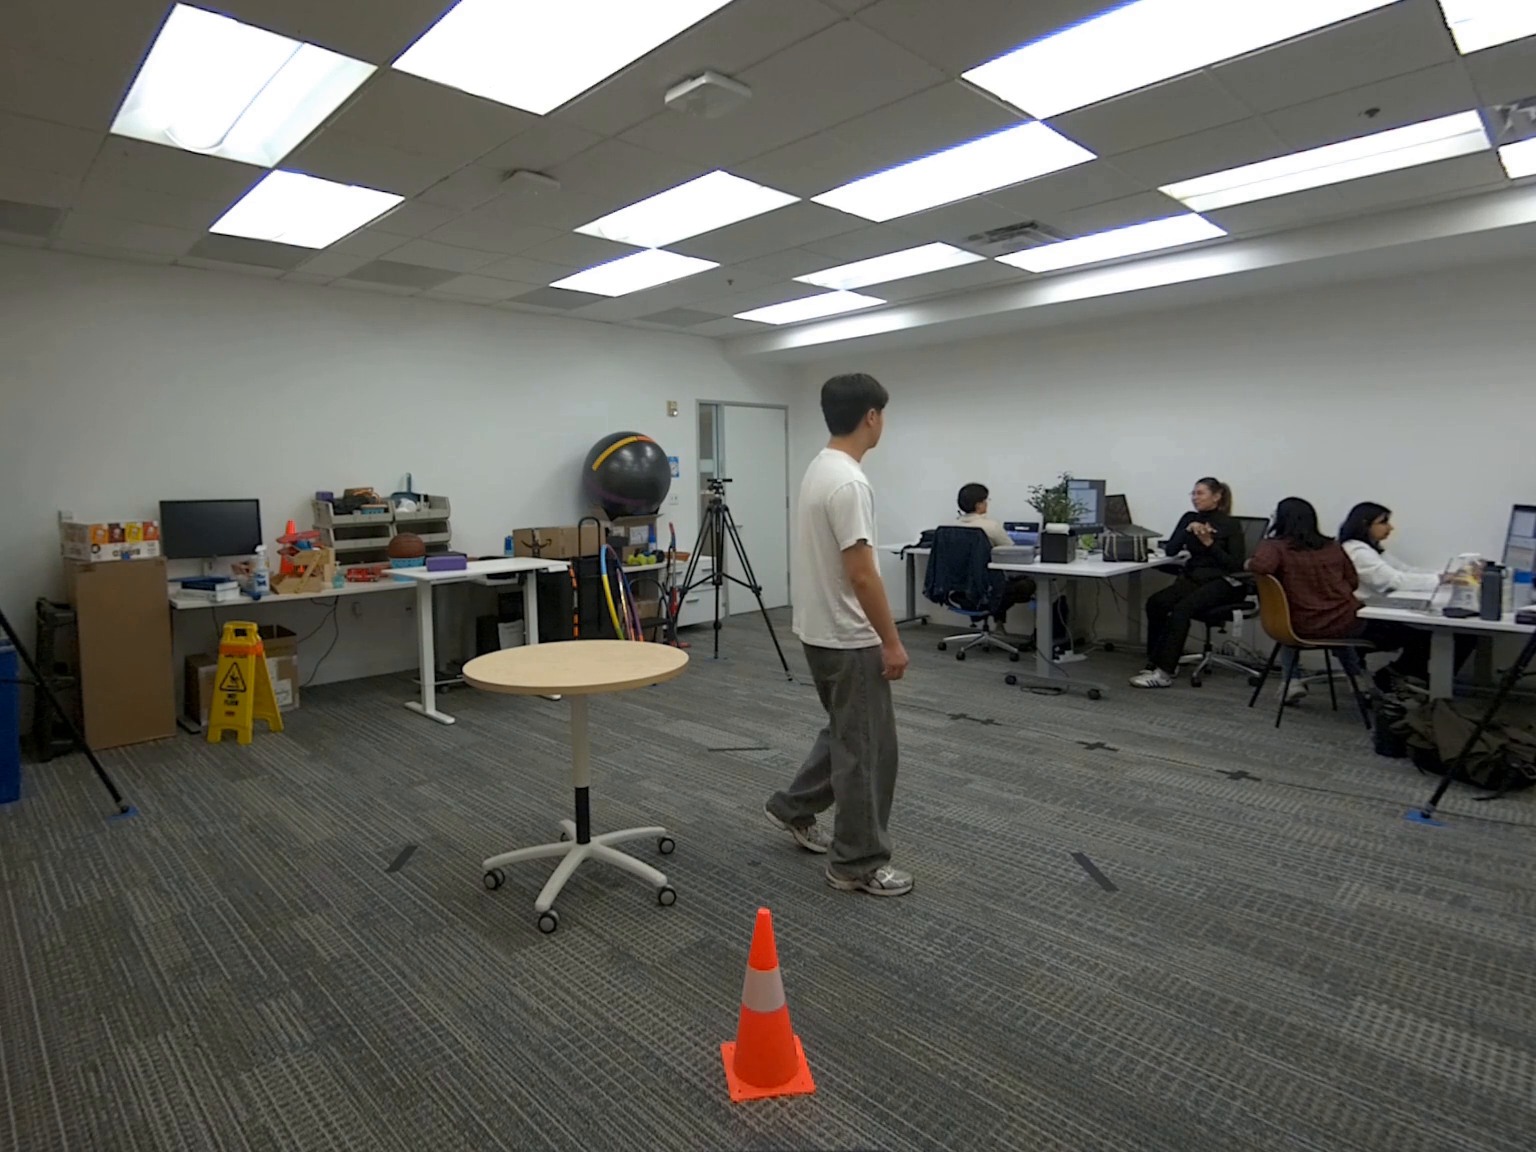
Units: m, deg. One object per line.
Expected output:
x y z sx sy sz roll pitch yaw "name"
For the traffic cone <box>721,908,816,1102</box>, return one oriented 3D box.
0.001 0.990 2.019 0.202 0.382 0.207 -3 5 -9 "traffic cone"
